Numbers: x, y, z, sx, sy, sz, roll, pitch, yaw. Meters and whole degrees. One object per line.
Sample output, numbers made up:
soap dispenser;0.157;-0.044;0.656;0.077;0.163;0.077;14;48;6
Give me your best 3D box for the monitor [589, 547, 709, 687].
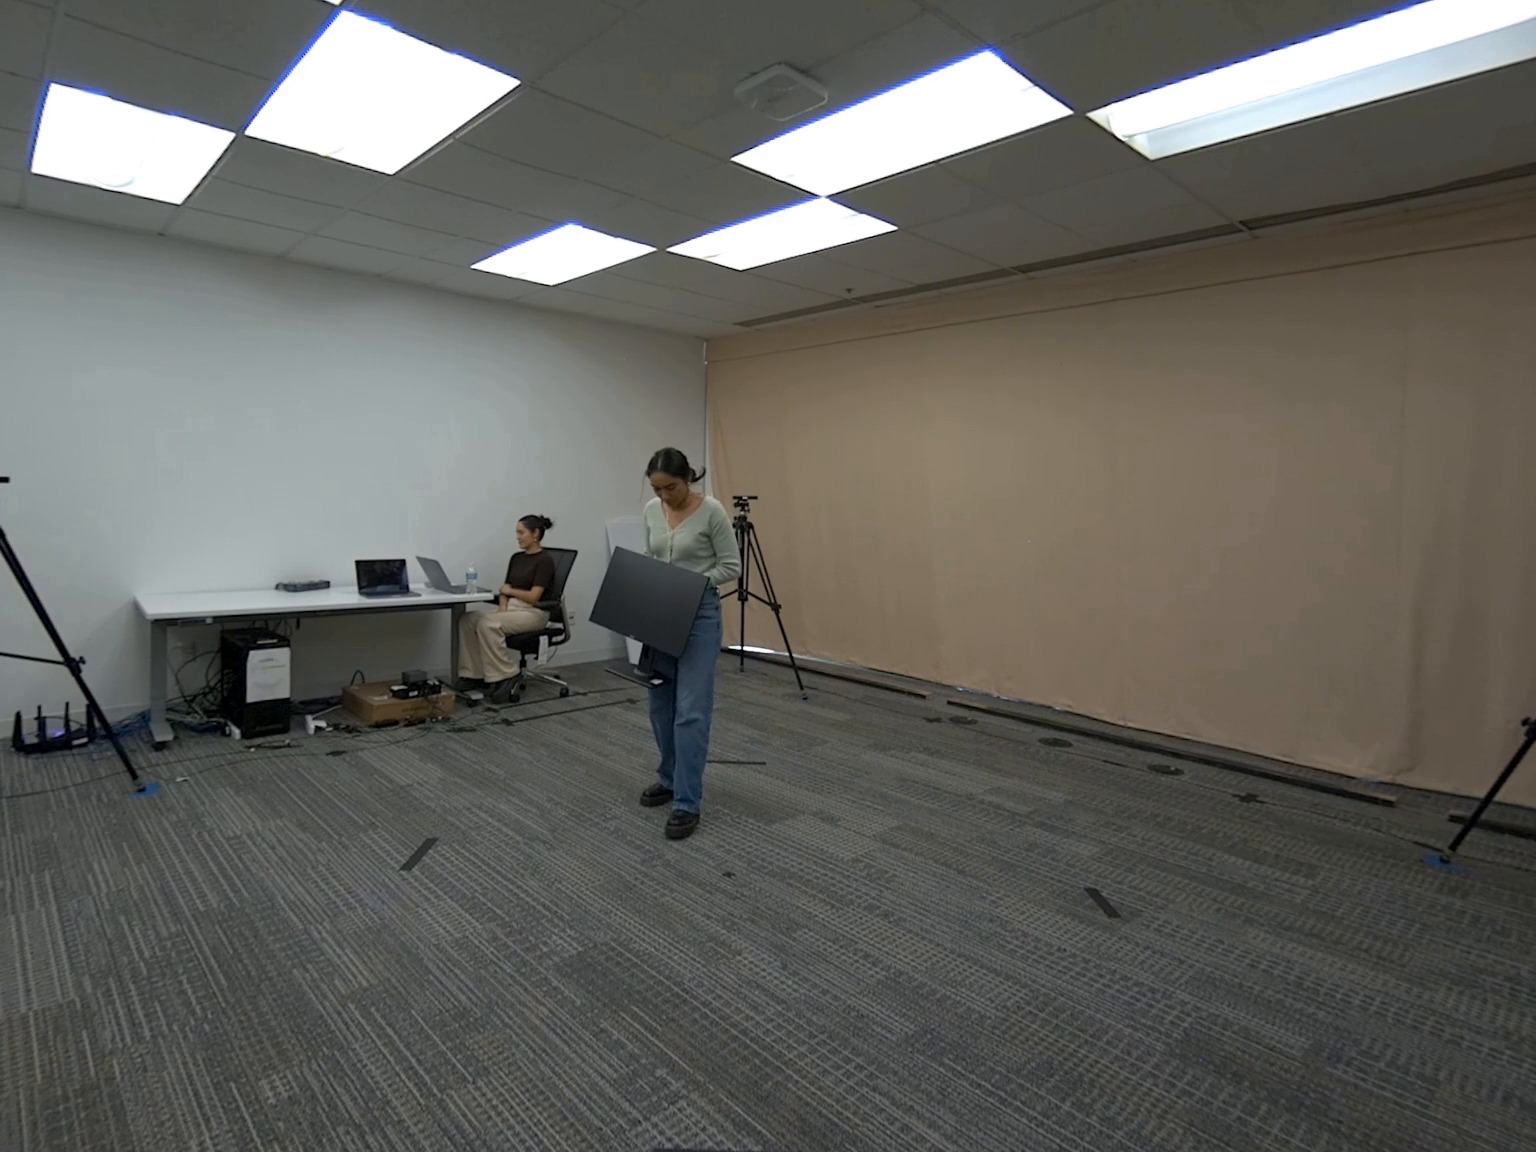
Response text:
monitor;-0.524;0.178;3.599;0.544;0.512;0.171;18;15;33
